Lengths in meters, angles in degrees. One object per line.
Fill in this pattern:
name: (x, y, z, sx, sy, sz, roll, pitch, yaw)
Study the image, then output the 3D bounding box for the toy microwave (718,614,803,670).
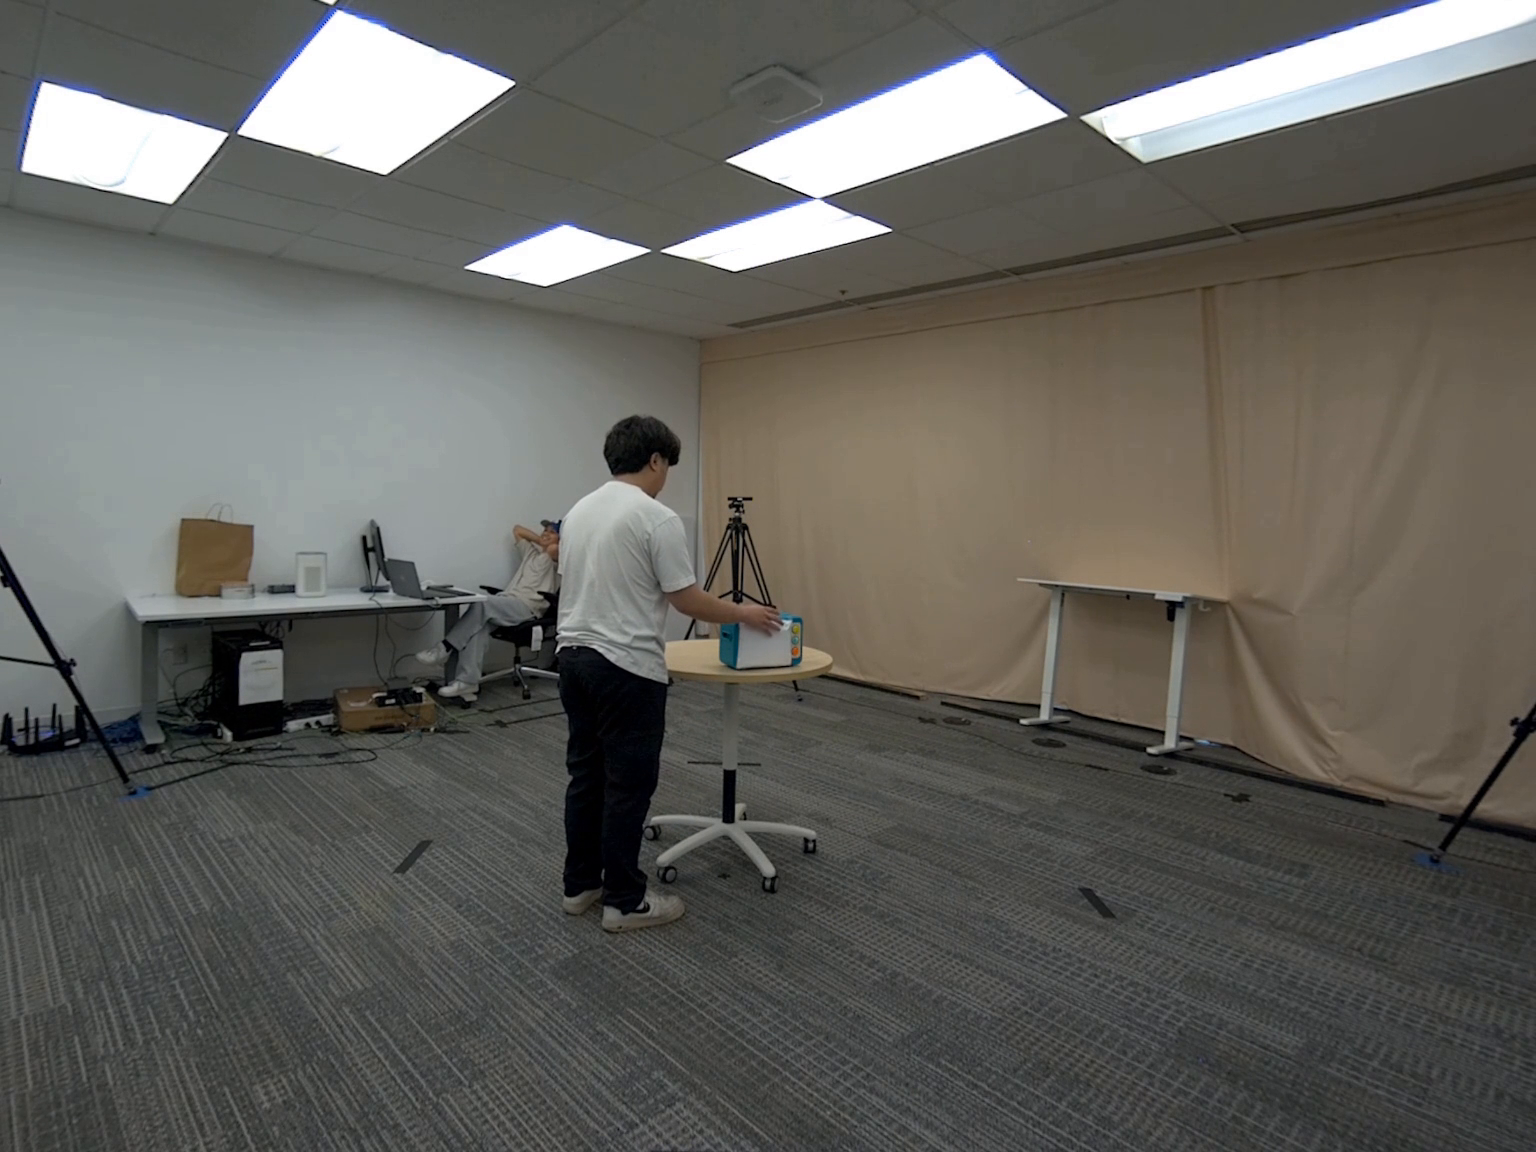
toy microwave: (-0.026, 0.232, 3.014, 0.281, 0.184, 0.155, 0, 3, -26)
